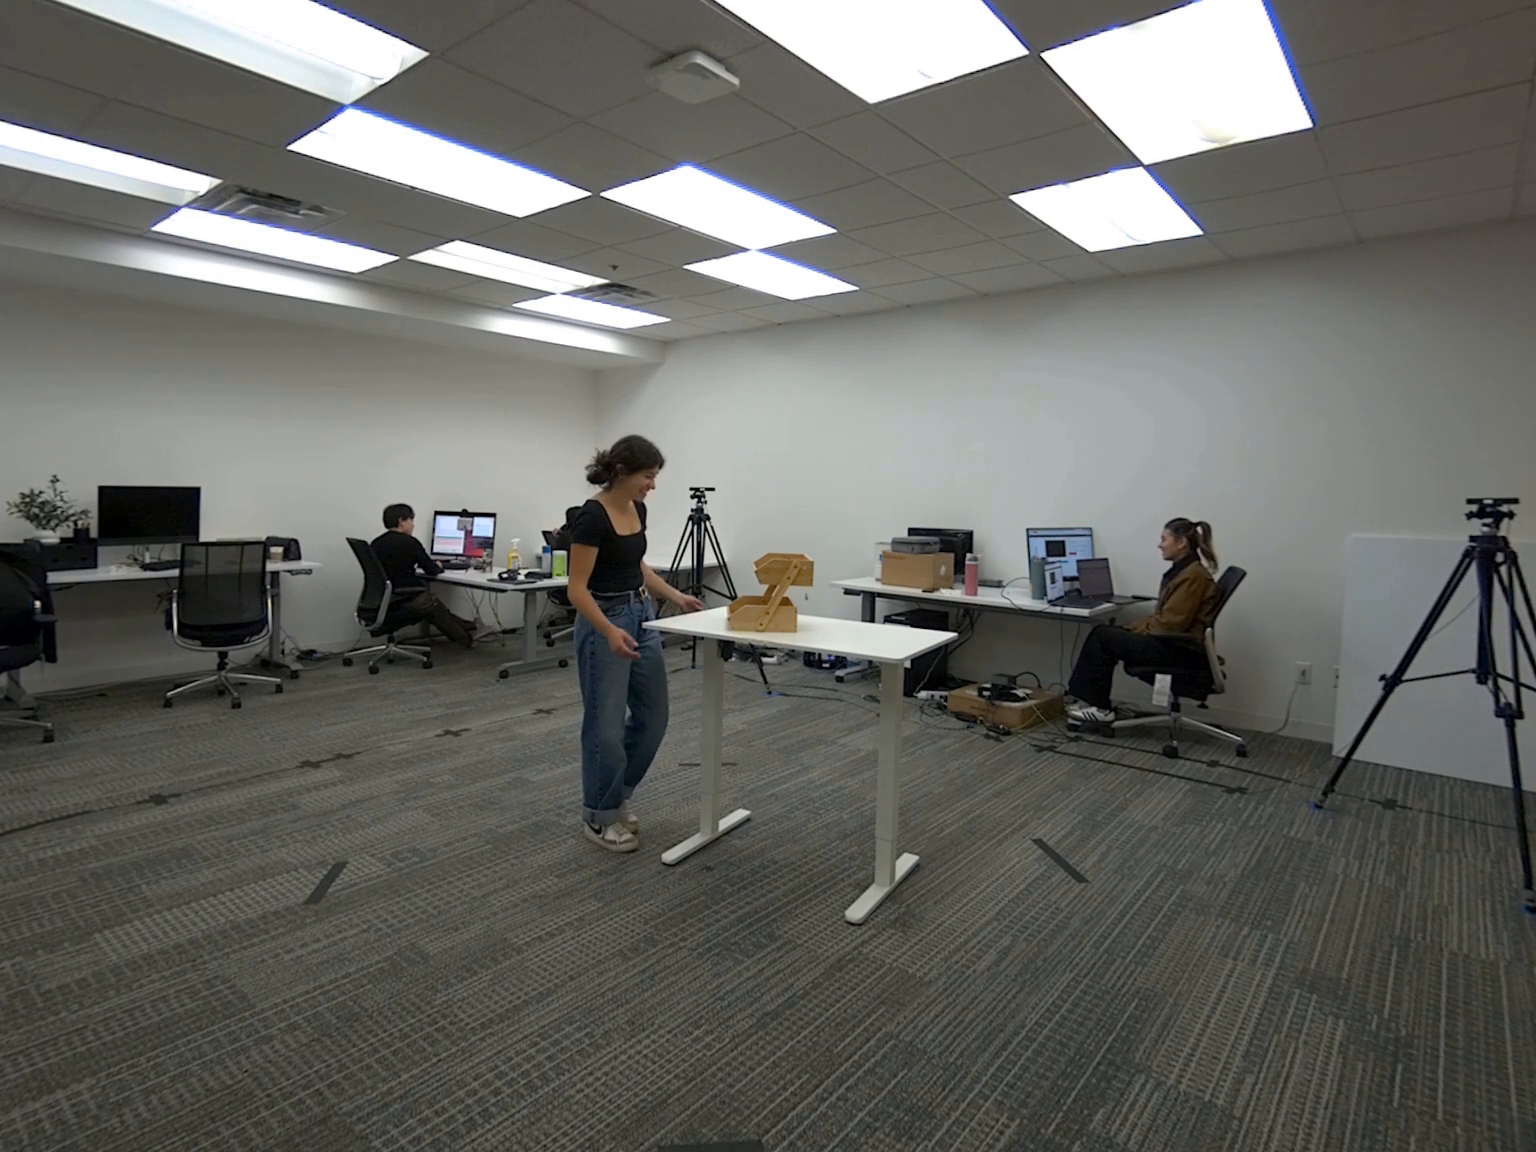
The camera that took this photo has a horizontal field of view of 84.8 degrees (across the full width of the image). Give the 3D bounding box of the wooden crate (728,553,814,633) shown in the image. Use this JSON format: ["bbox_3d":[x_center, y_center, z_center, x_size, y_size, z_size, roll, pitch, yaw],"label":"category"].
[{"bbox_3d":[-0.011,0.052,3.176,0.302,0.272,0.326,1,5,-2],"label":"wooden crate"}]
